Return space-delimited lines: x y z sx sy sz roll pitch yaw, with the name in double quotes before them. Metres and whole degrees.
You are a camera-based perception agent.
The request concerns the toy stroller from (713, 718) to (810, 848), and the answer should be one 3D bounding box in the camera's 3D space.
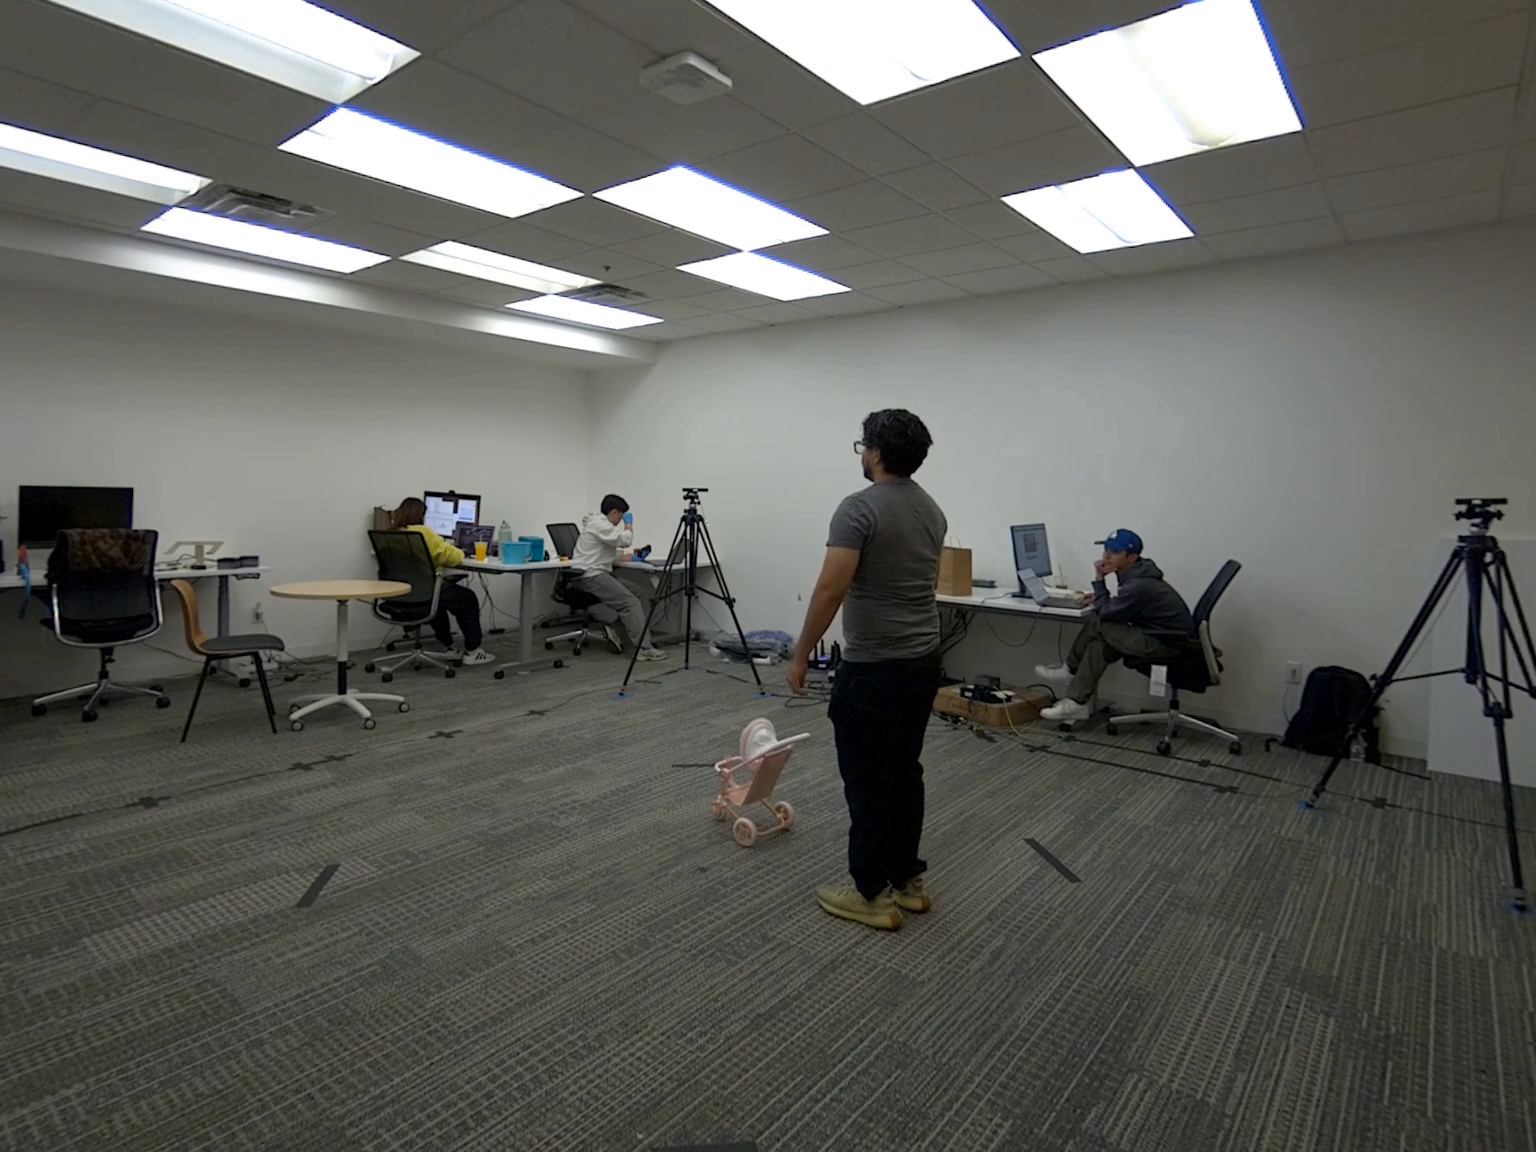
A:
"toy stroller" -0.066 0.810 3.448 0.273 0.530 0.355 -1 19 -45
